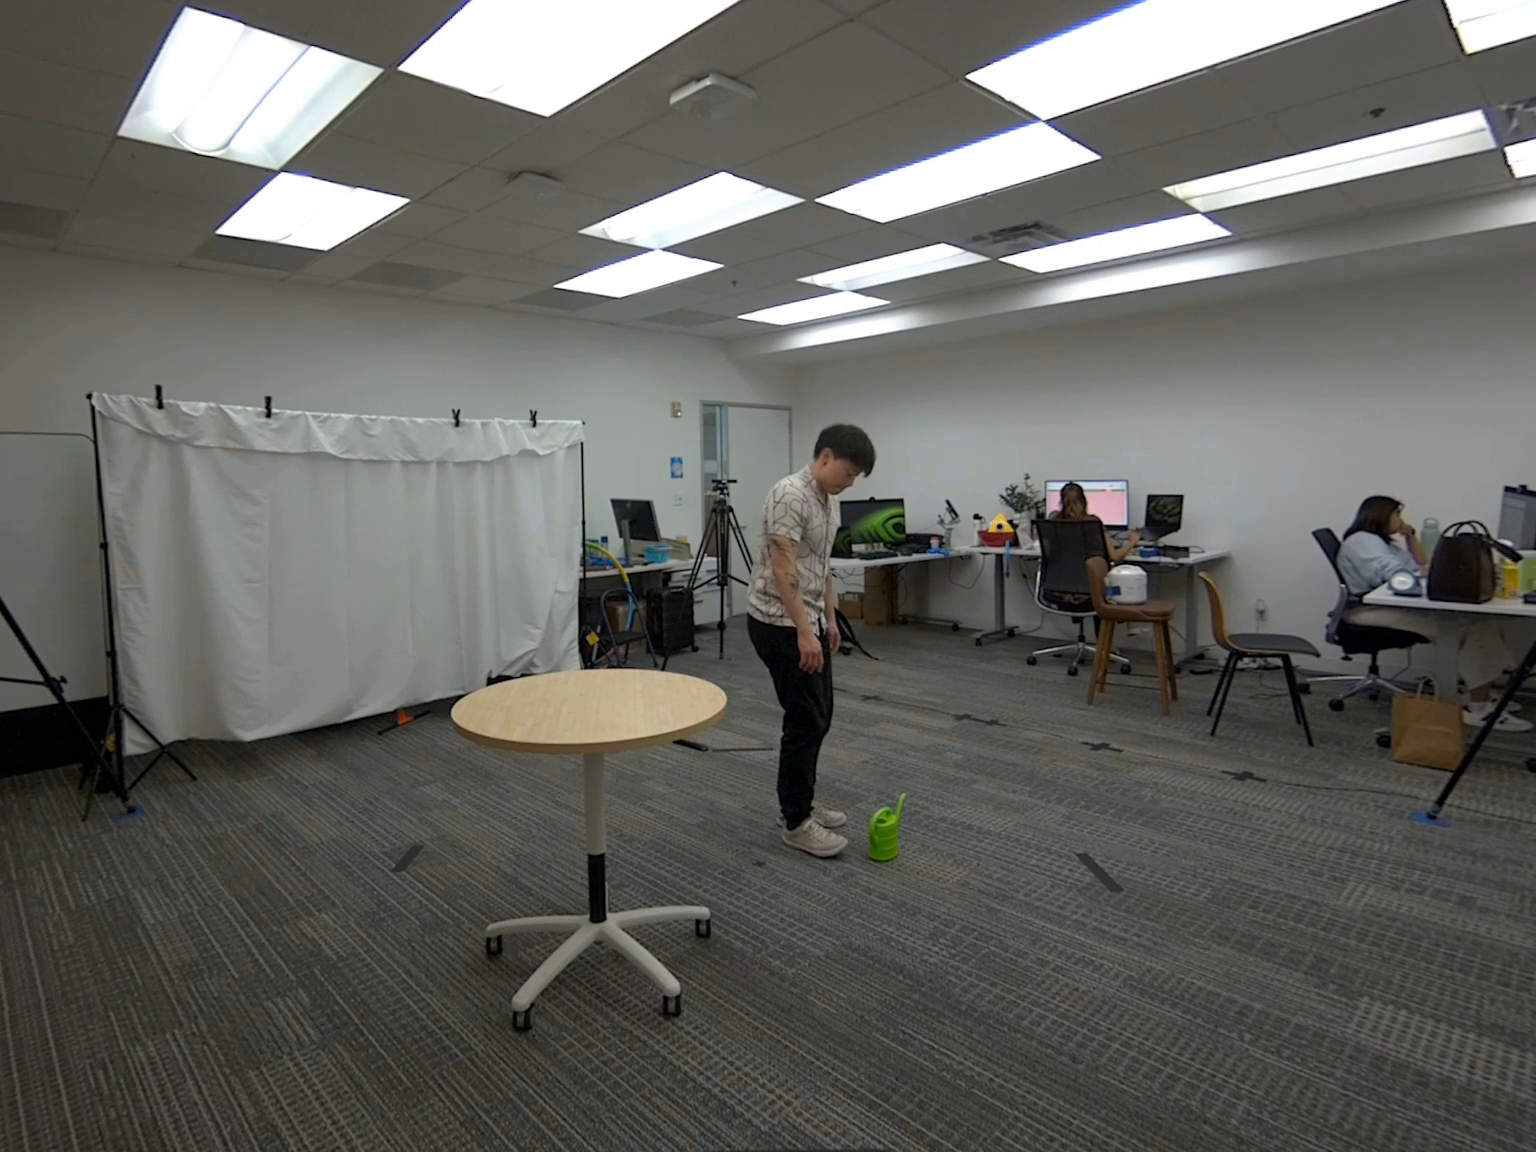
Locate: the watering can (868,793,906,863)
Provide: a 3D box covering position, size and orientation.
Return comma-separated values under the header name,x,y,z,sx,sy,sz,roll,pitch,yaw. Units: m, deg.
name,x,y,z,sx,sy,sz,roll,pitch,yaw
watering can,0.454,0.937,3.188,0.271,0.176,0.101,-6,8,-43
